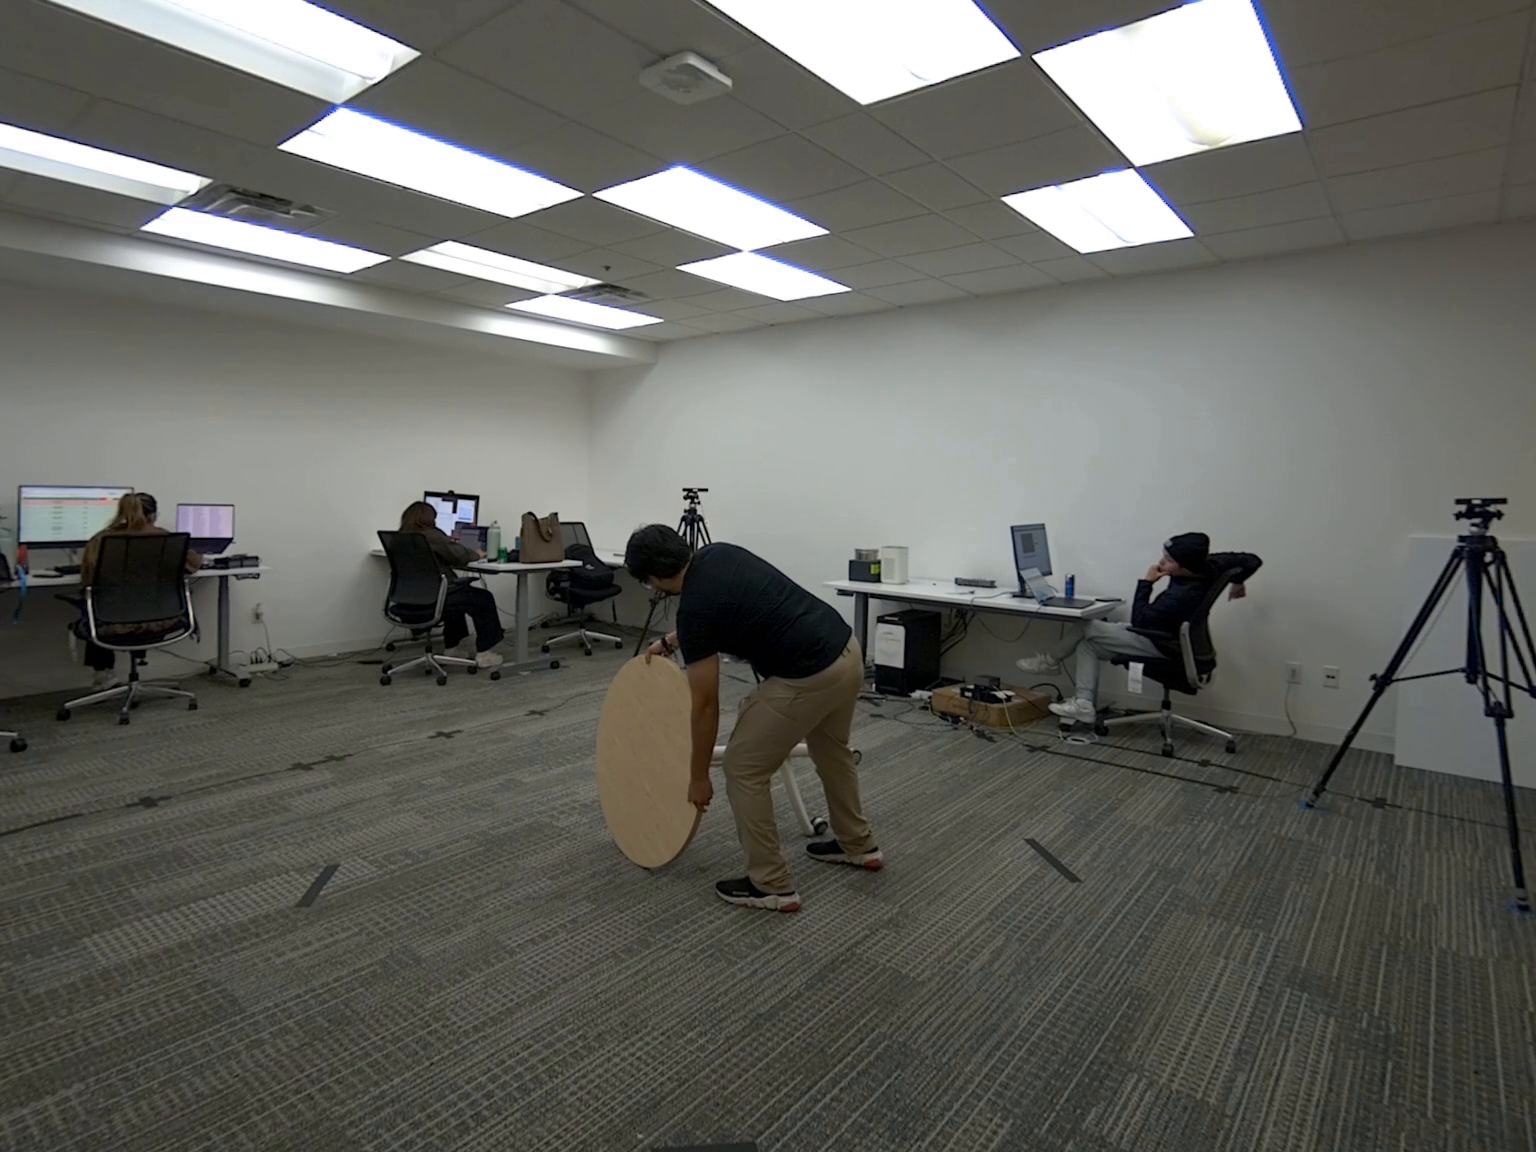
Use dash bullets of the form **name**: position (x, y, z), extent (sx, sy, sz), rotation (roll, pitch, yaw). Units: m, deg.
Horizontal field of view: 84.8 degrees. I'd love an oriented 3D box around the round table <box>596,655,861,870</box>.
- **round table**: position (-0.172, 0.707, 3.406), extent (0.760, 0.786, 0.811), rotation (7, -1, -37)
